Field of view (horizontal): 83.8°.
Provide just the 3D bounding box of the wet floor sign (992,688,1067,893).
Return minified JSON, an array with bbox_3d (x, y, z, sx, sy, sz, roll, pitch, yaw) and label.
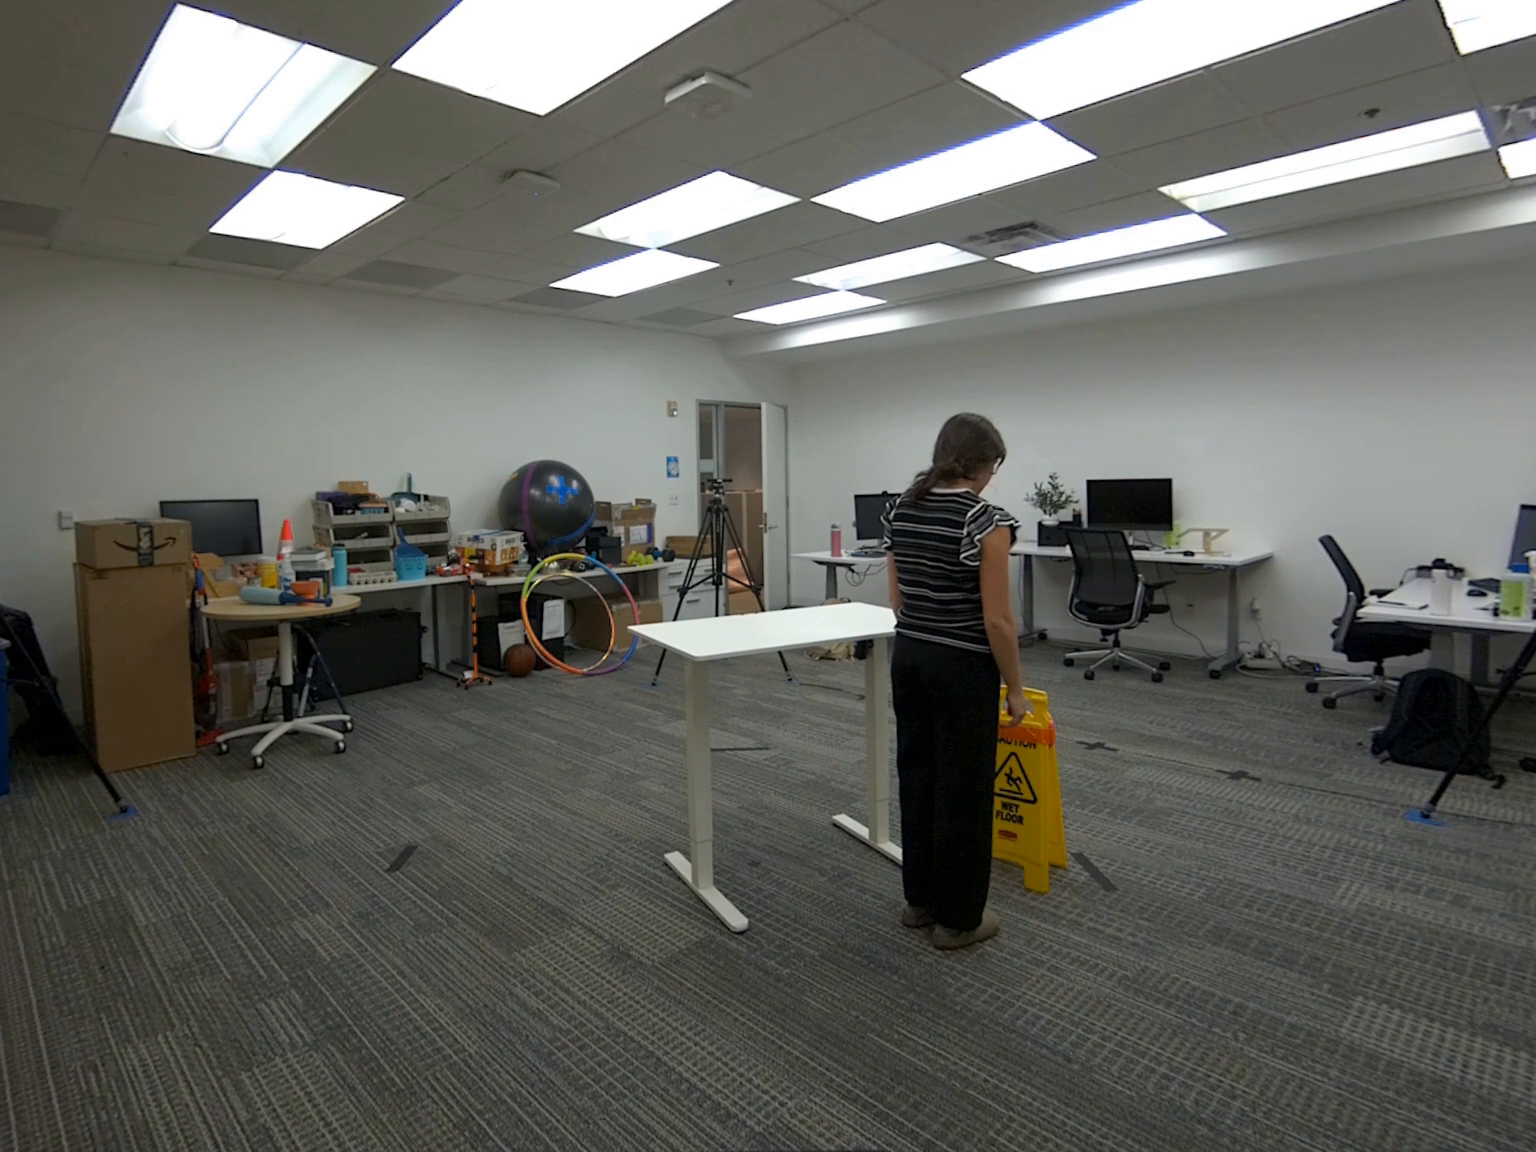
[{"bbox_3d":[0.884,0.719,3.002,0.290,0.644,0.282,2,5,35],"label":"wet floor sign"}]
